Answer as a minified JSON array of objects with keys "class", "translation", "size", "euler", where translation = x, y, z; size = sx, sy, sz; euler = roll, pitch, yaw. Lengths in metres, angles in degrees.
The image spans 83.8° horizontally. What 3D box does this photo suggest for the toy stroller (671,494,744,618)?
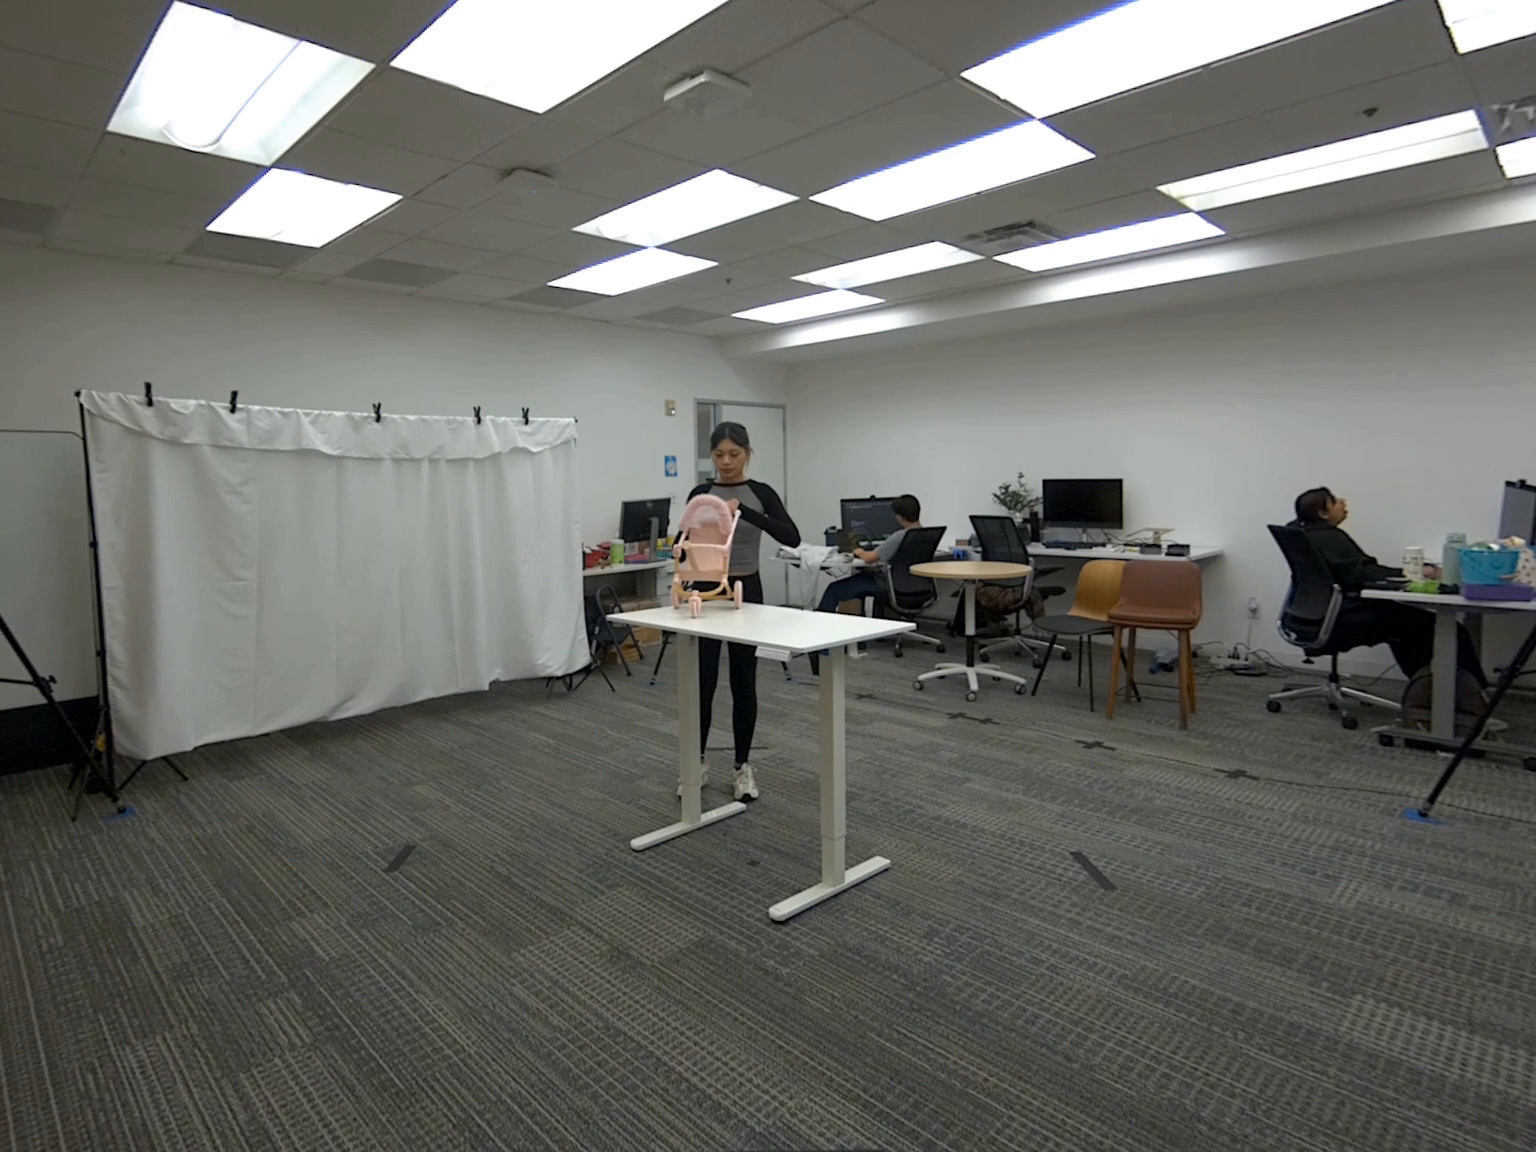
[{"class":"toy stroller","translation":[-0.252,-0.080,3.346],"size":[0.285,0.541,0.333],"euler":[-1,-13,12]}]
